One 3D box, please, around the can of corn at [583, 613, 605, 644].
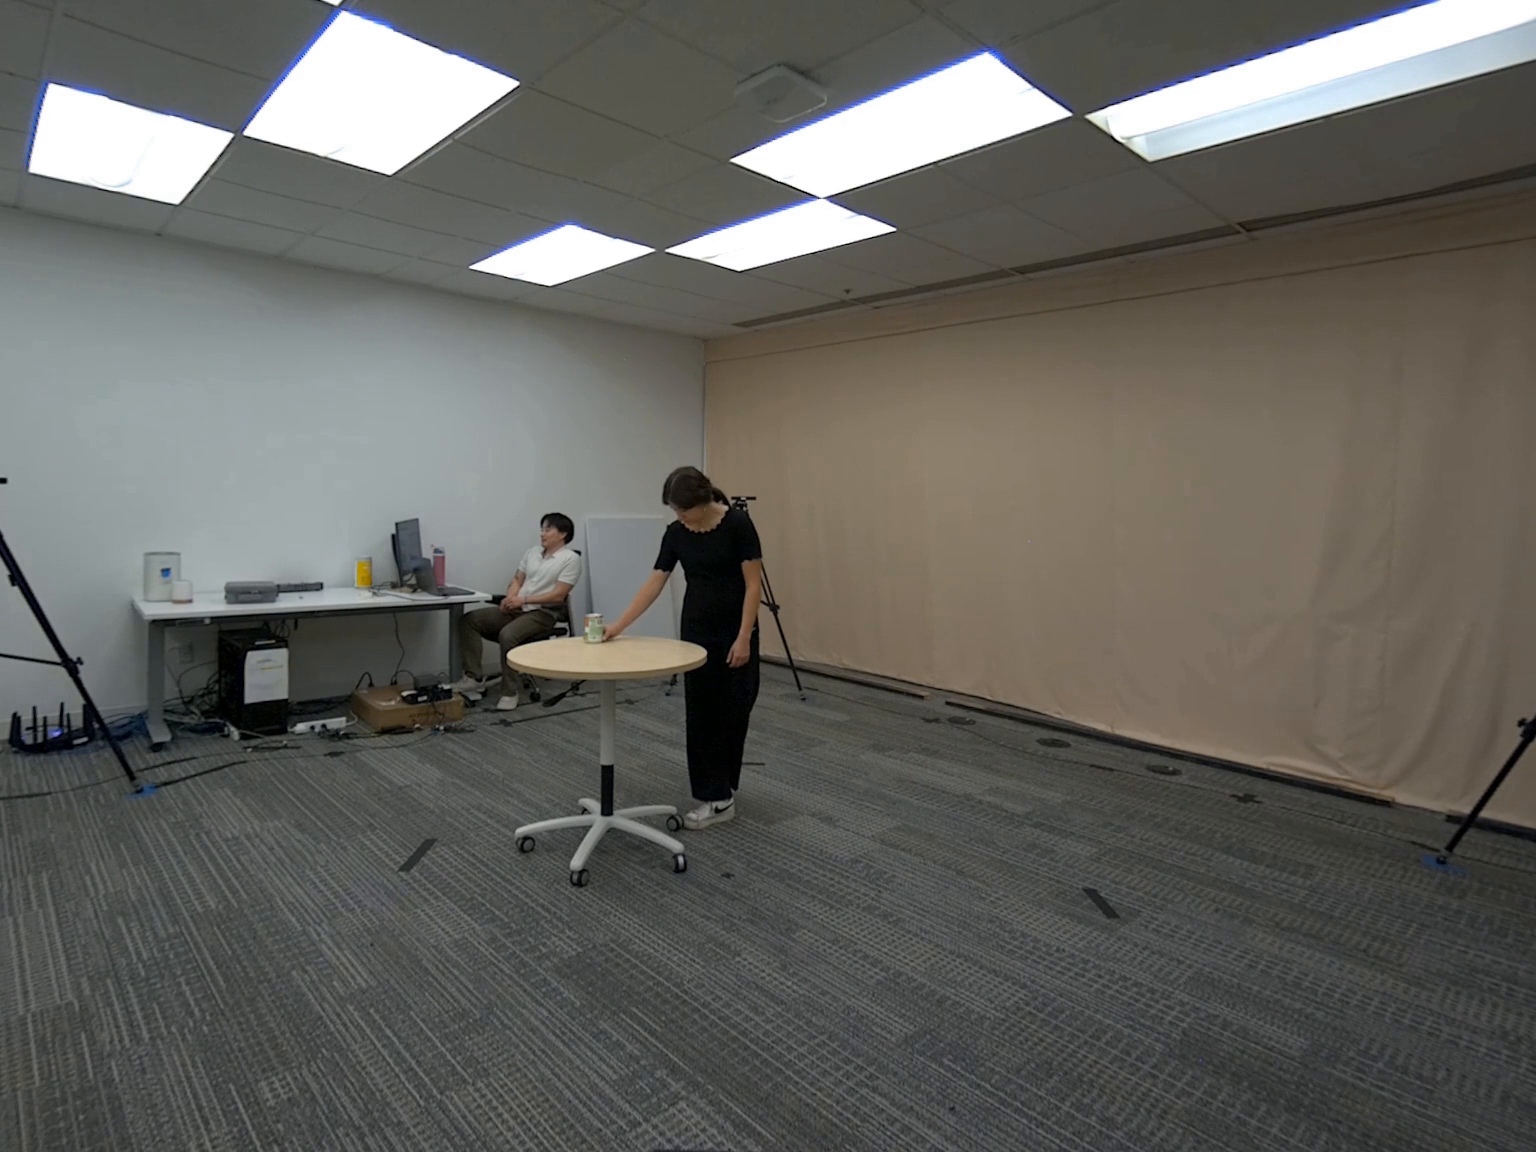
[{"bbox_3d":[-0.736,0.220,3.483,0.074,0.111,0.074,-1,4,-1],"label":"can of corn"}]
